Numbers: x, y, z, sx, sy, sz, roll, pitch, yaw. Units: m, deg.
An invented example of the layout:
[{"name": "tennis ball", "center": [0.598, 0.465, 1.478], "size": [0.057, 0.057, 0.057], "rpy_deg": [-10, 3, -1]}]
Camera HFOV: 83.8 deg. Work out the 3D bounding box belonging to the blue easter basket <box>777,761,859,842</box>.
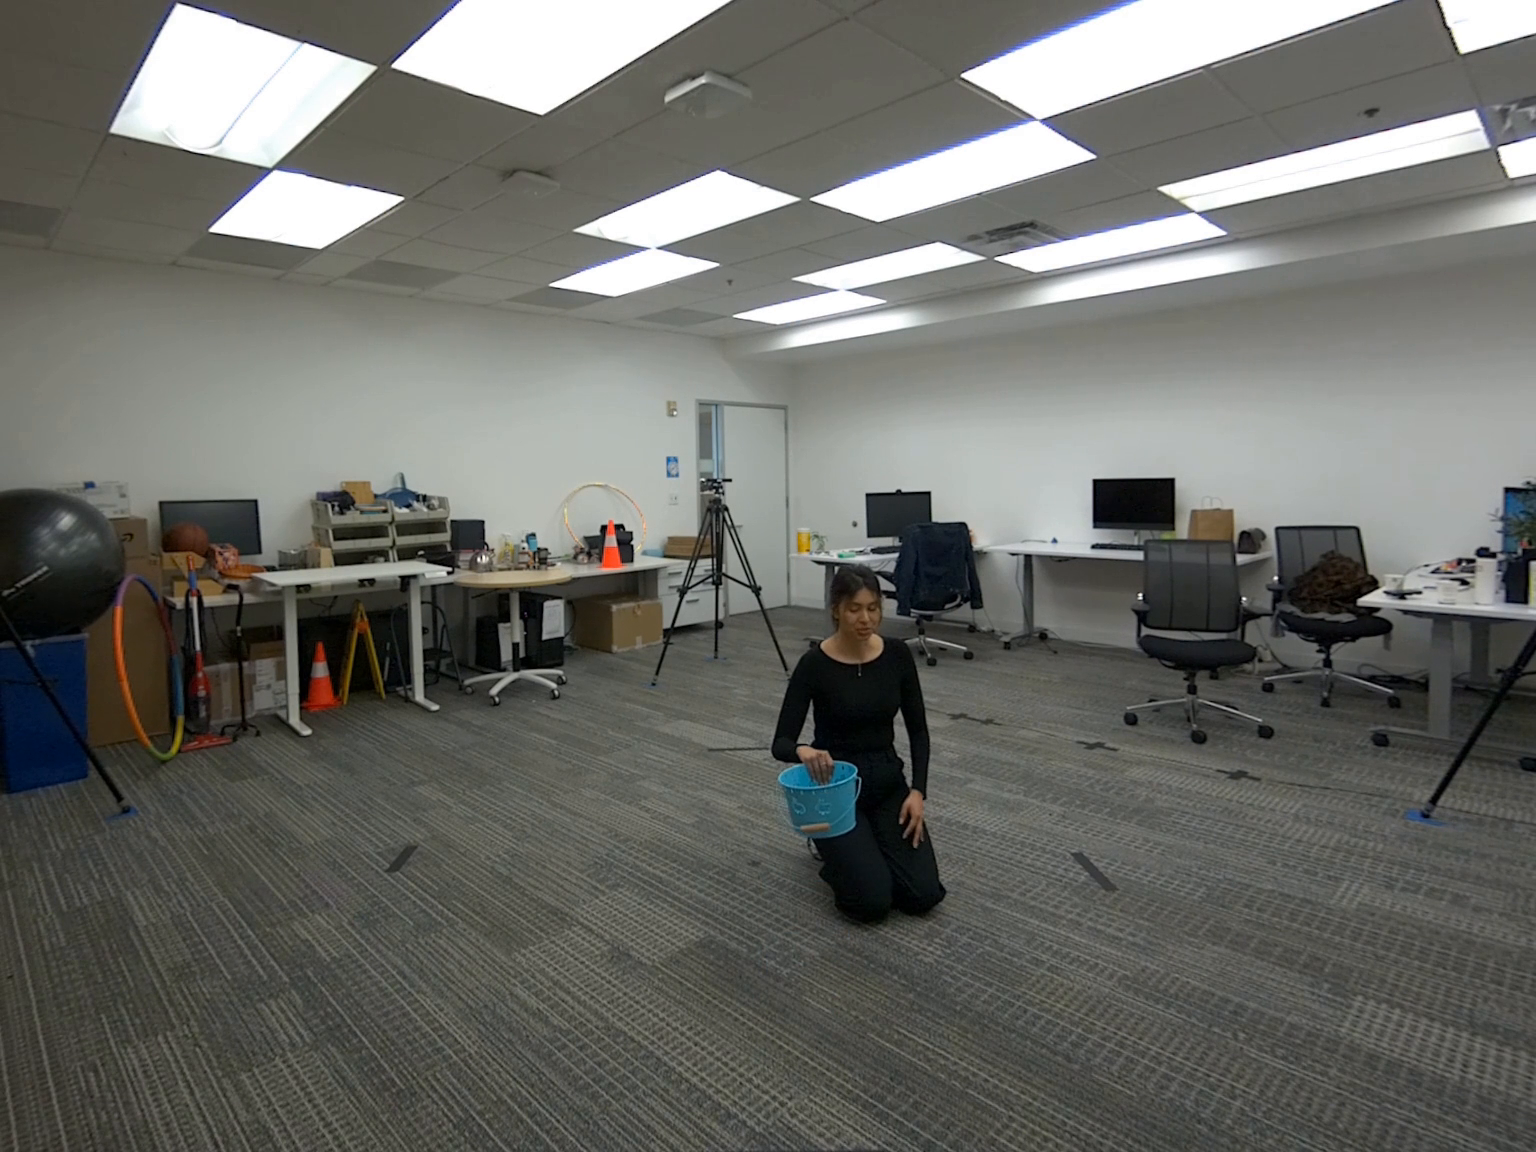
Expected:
[{"name": "blue easter basket", "center": [0.152, 0.653, 2.466], "size": [0.243, 0.155, 0.244], "rpy_deg": [-7, 4, -1]}]
